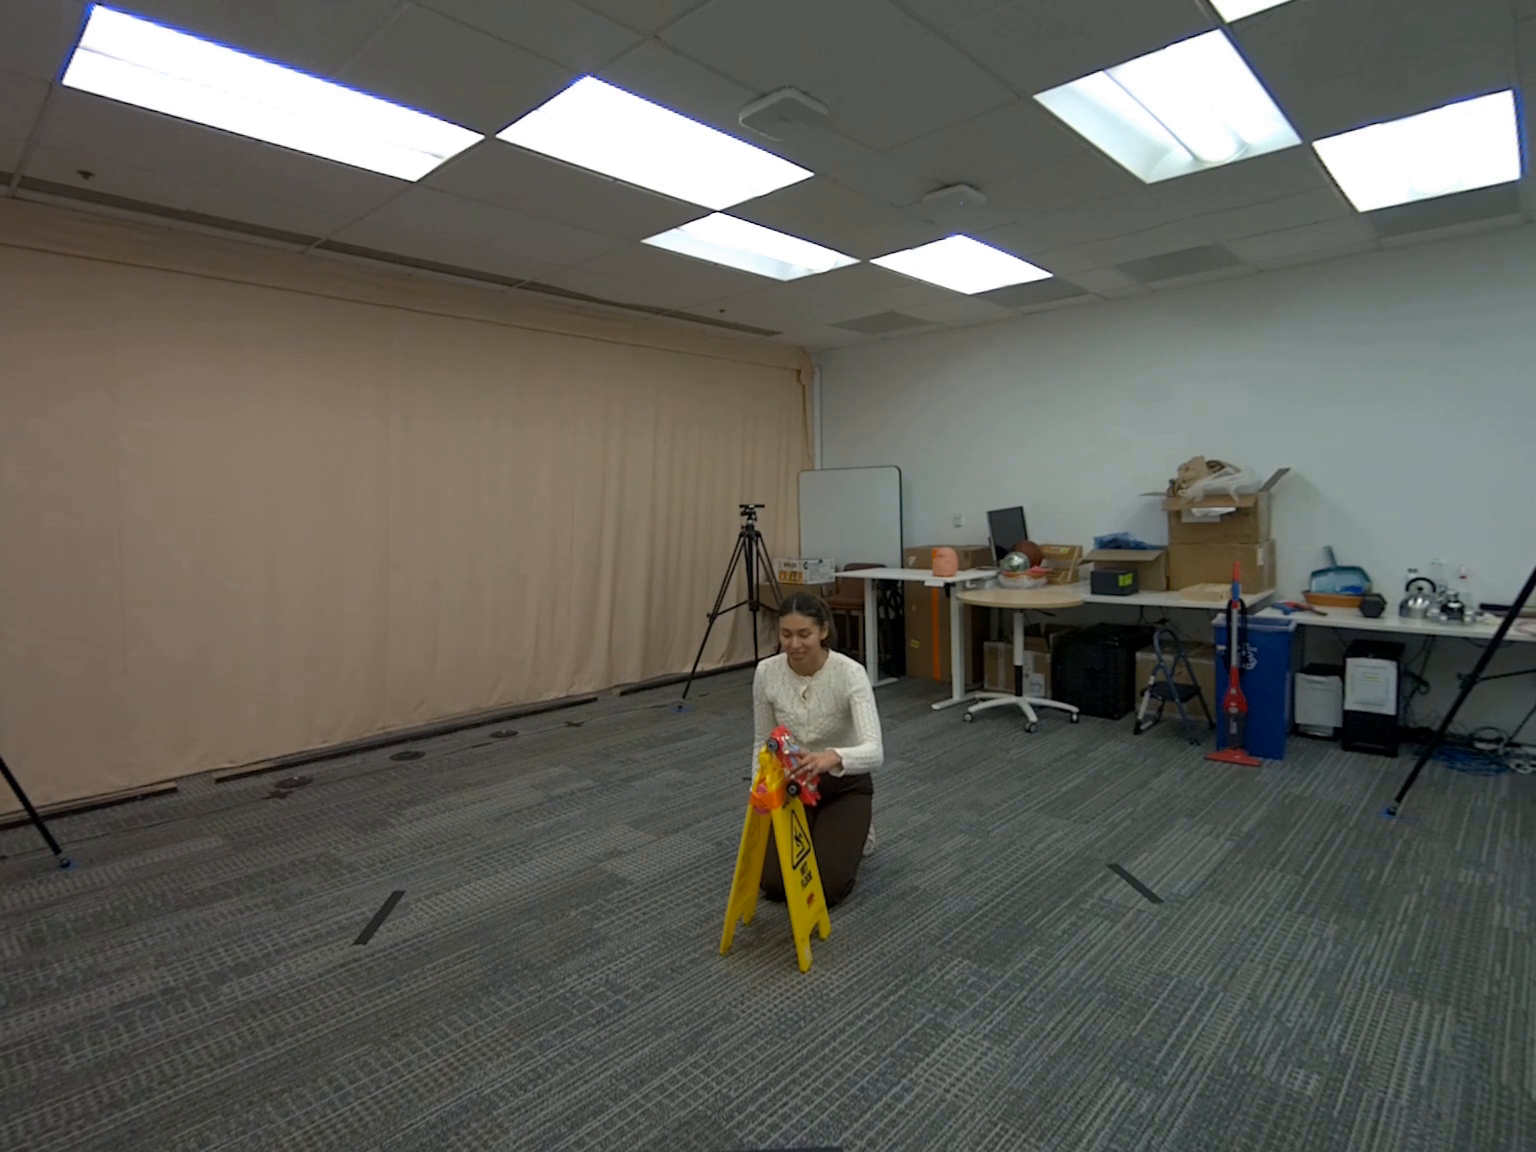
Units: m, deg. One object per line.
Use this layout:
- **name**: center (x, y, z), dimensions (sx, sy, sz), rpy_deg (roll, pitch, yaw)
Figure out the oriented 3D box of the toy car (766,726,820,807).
- **toy car**: center (0.089, 0.583, 2.618), dimensions (0.084, 0.256, 0.128), rpy_deg (-44, -6, 19)
